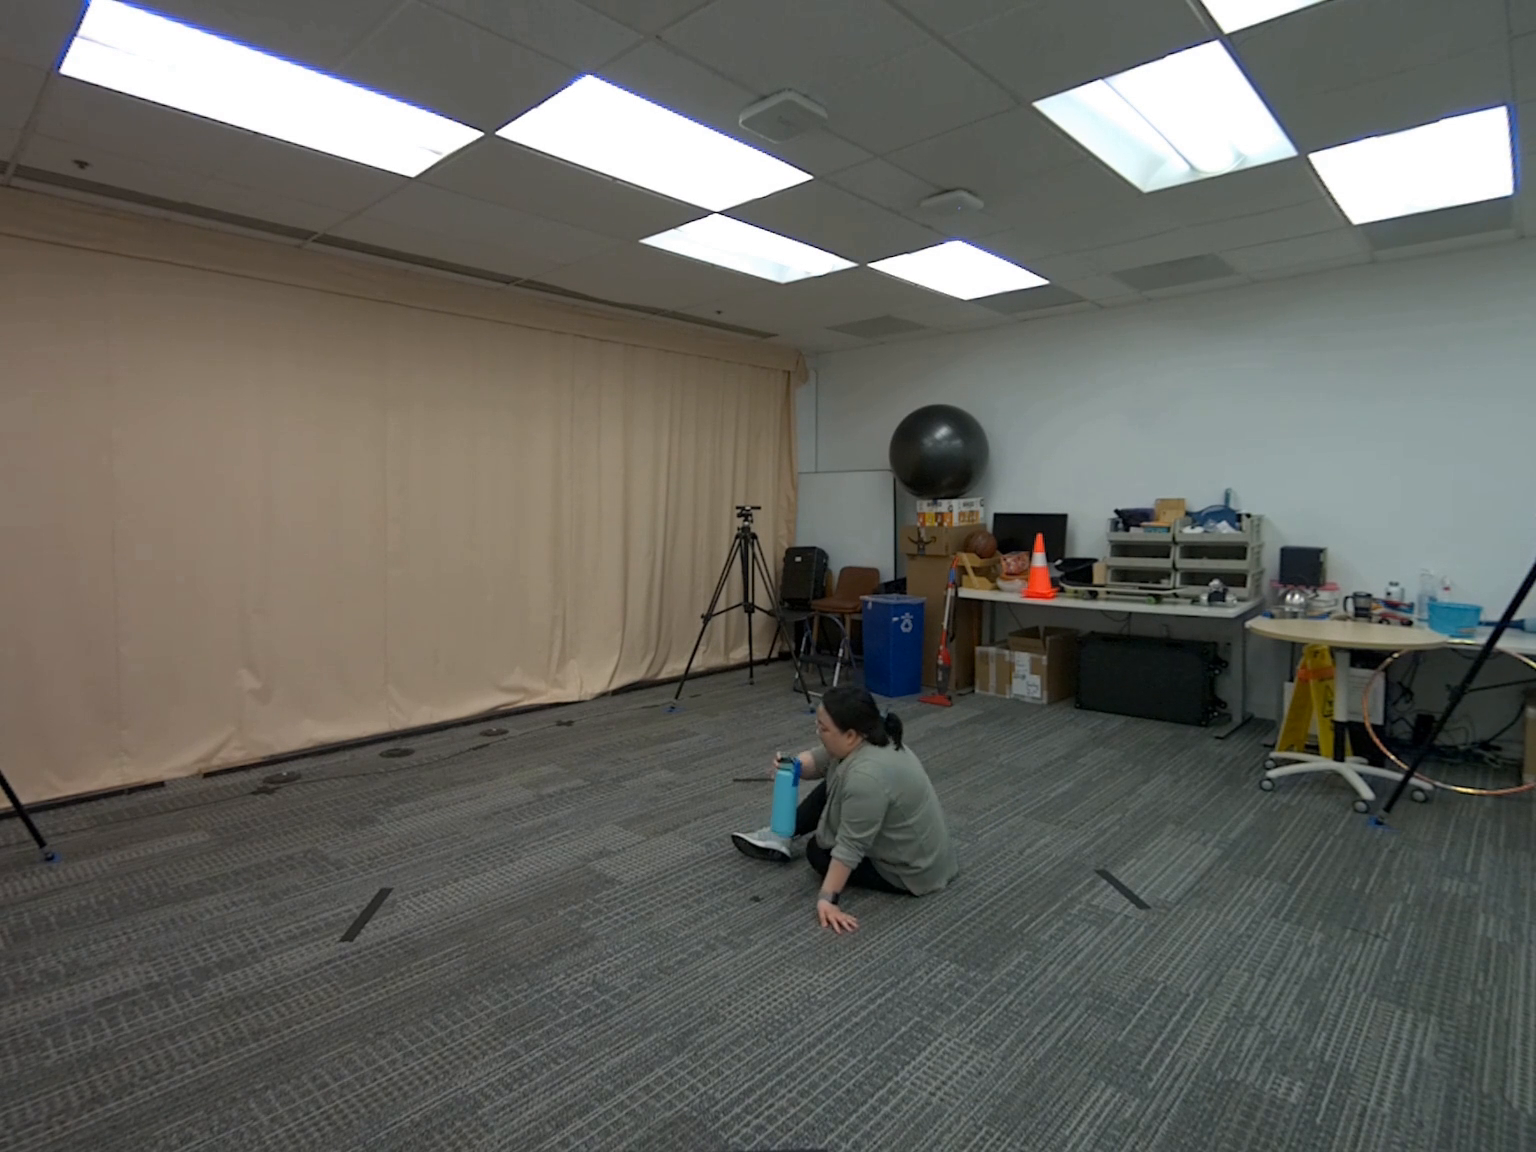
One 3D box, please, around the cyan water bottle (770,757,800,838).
[{"bbox_3d":[0.073,0.803,3.075,0.092,0.283,0.092,4,0,-2],"label":"cyan water bottle"}]
